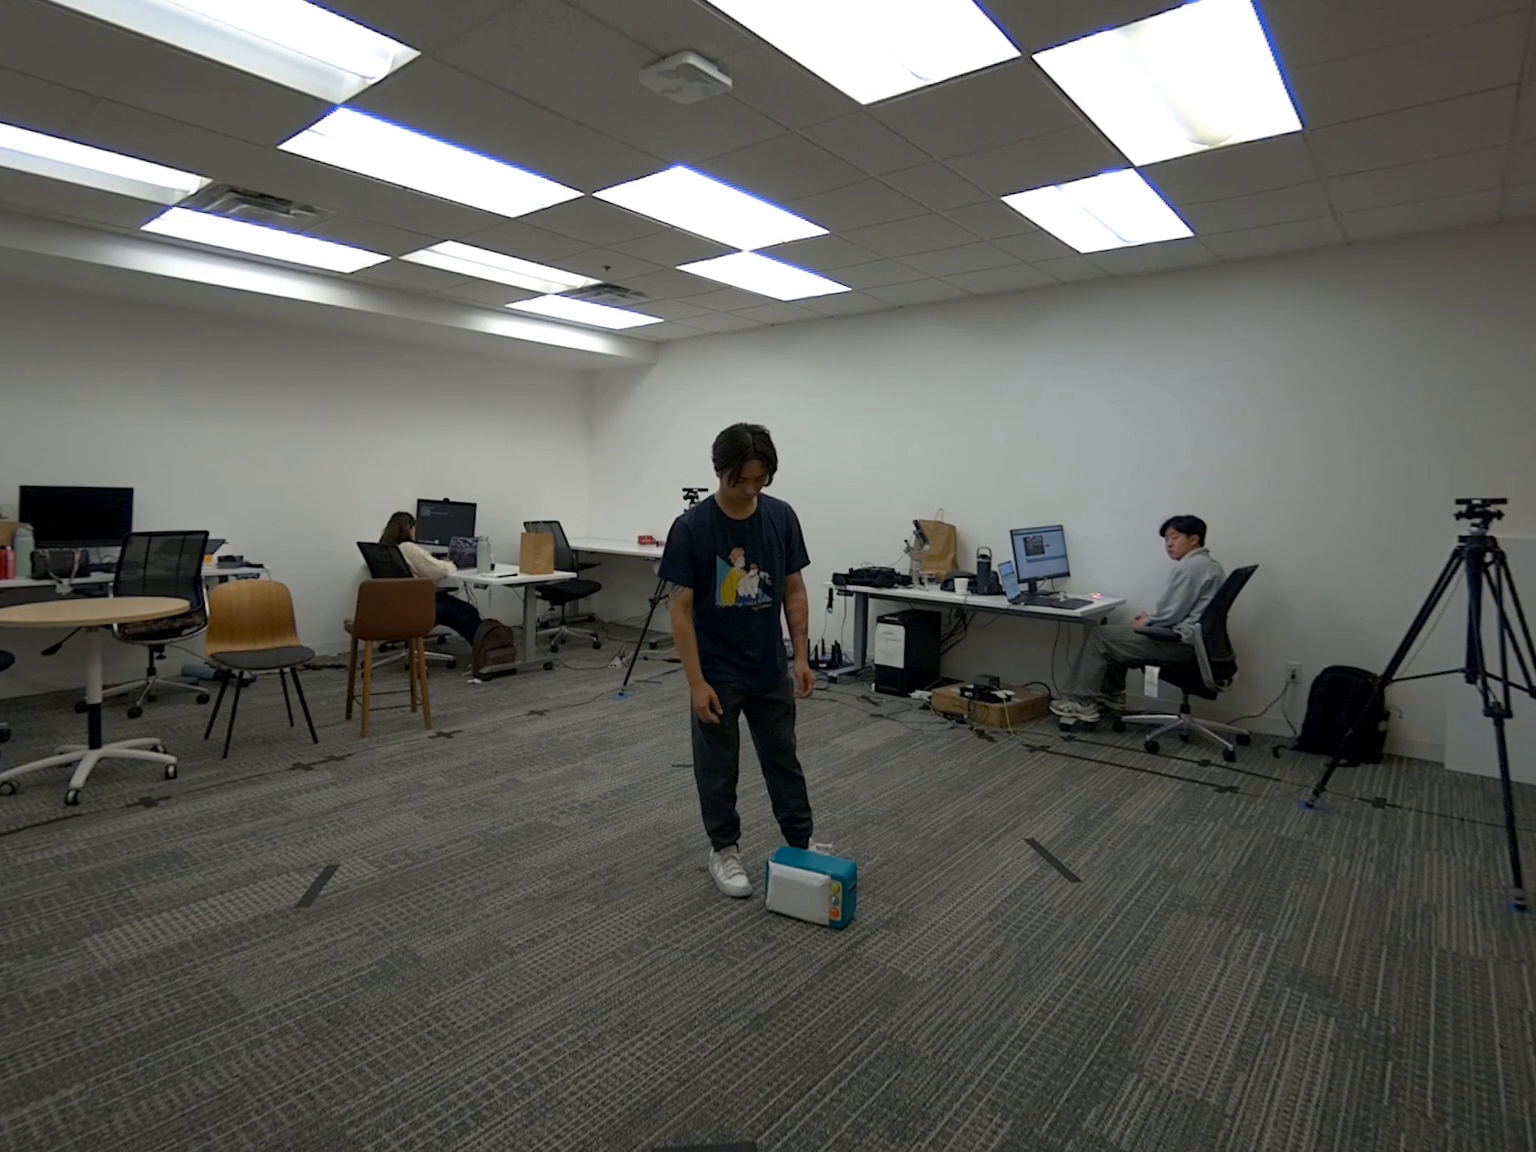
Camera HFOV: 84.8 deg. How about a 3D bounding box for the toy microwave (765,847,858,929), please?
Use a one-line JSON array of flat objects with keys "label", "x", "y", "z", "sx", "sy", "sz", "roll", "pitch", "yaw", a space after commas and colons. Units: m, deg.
[{"label": "toy microwave", "x": 0.129, "y": 1.017, "z": 2.787, "sx": 0.293, "sy": 0.183, "sz": 0.149, "roll": 4, "pitch": 5, "yaw": 24}]
